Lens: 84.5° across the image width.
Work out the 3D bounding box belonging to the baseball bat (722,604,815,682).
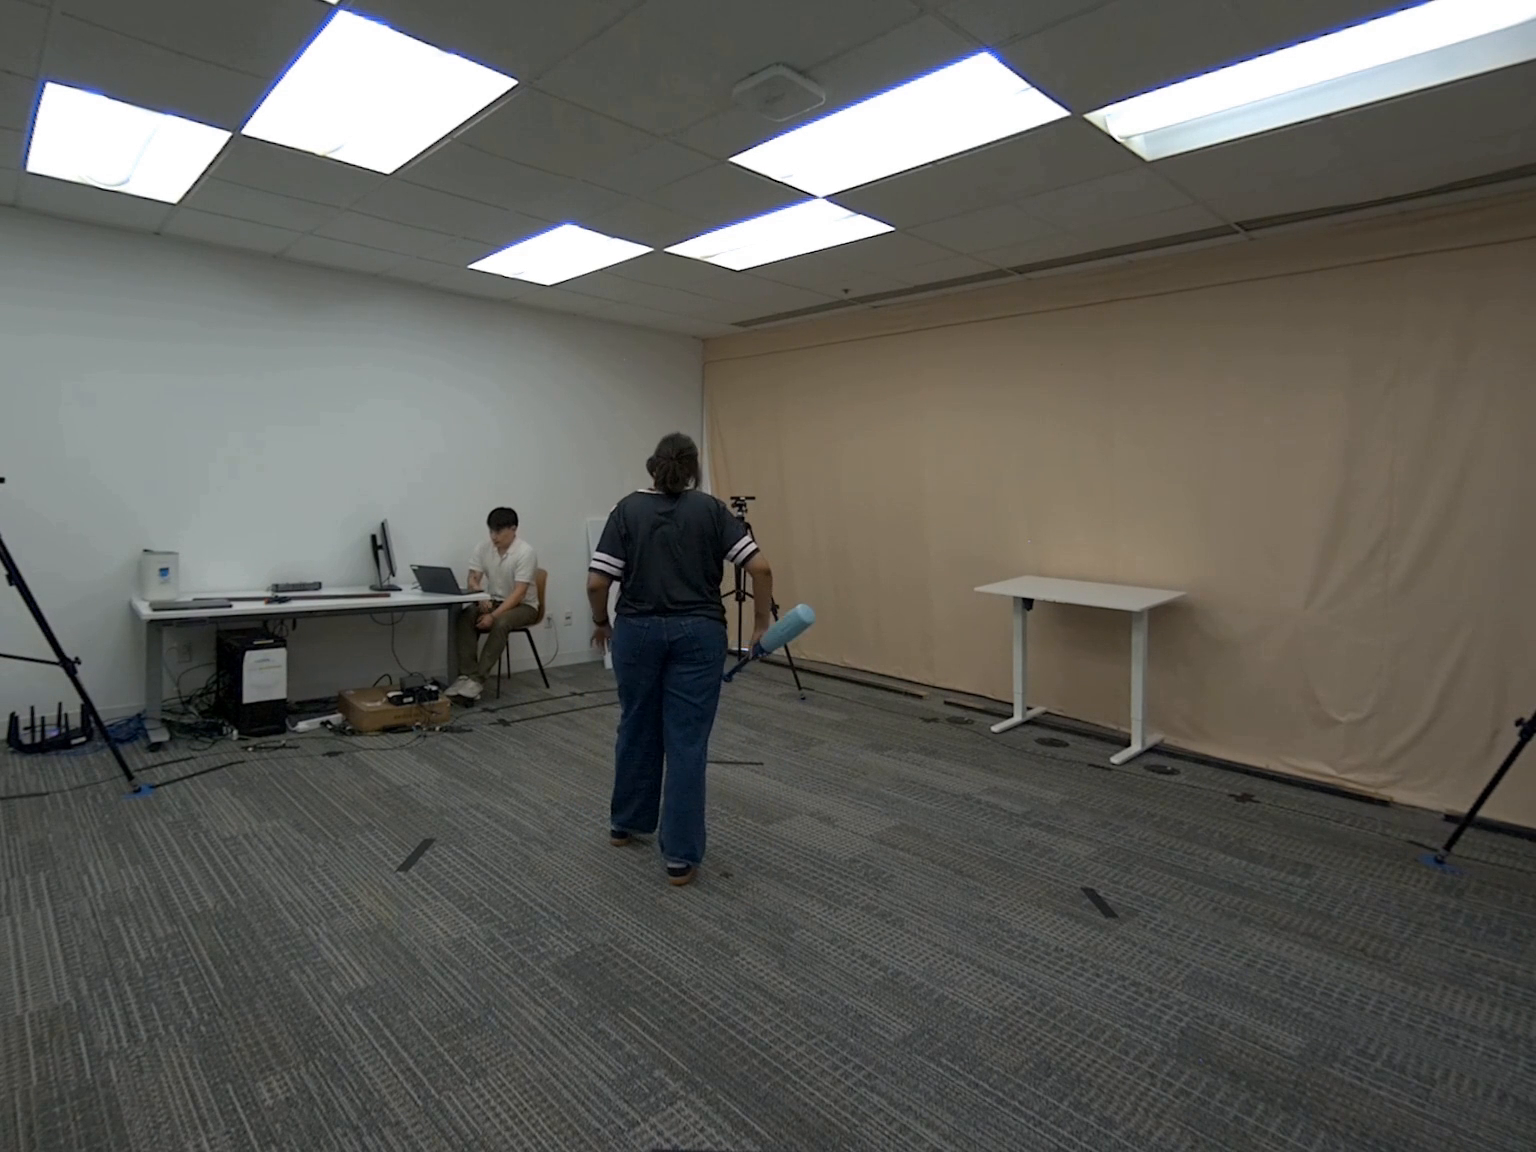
[{"bbox_3d":[-0.047,0.268,3.178,0.087,0.091,0.544,-2,-29,-44],"label":"baseball bat"}]
